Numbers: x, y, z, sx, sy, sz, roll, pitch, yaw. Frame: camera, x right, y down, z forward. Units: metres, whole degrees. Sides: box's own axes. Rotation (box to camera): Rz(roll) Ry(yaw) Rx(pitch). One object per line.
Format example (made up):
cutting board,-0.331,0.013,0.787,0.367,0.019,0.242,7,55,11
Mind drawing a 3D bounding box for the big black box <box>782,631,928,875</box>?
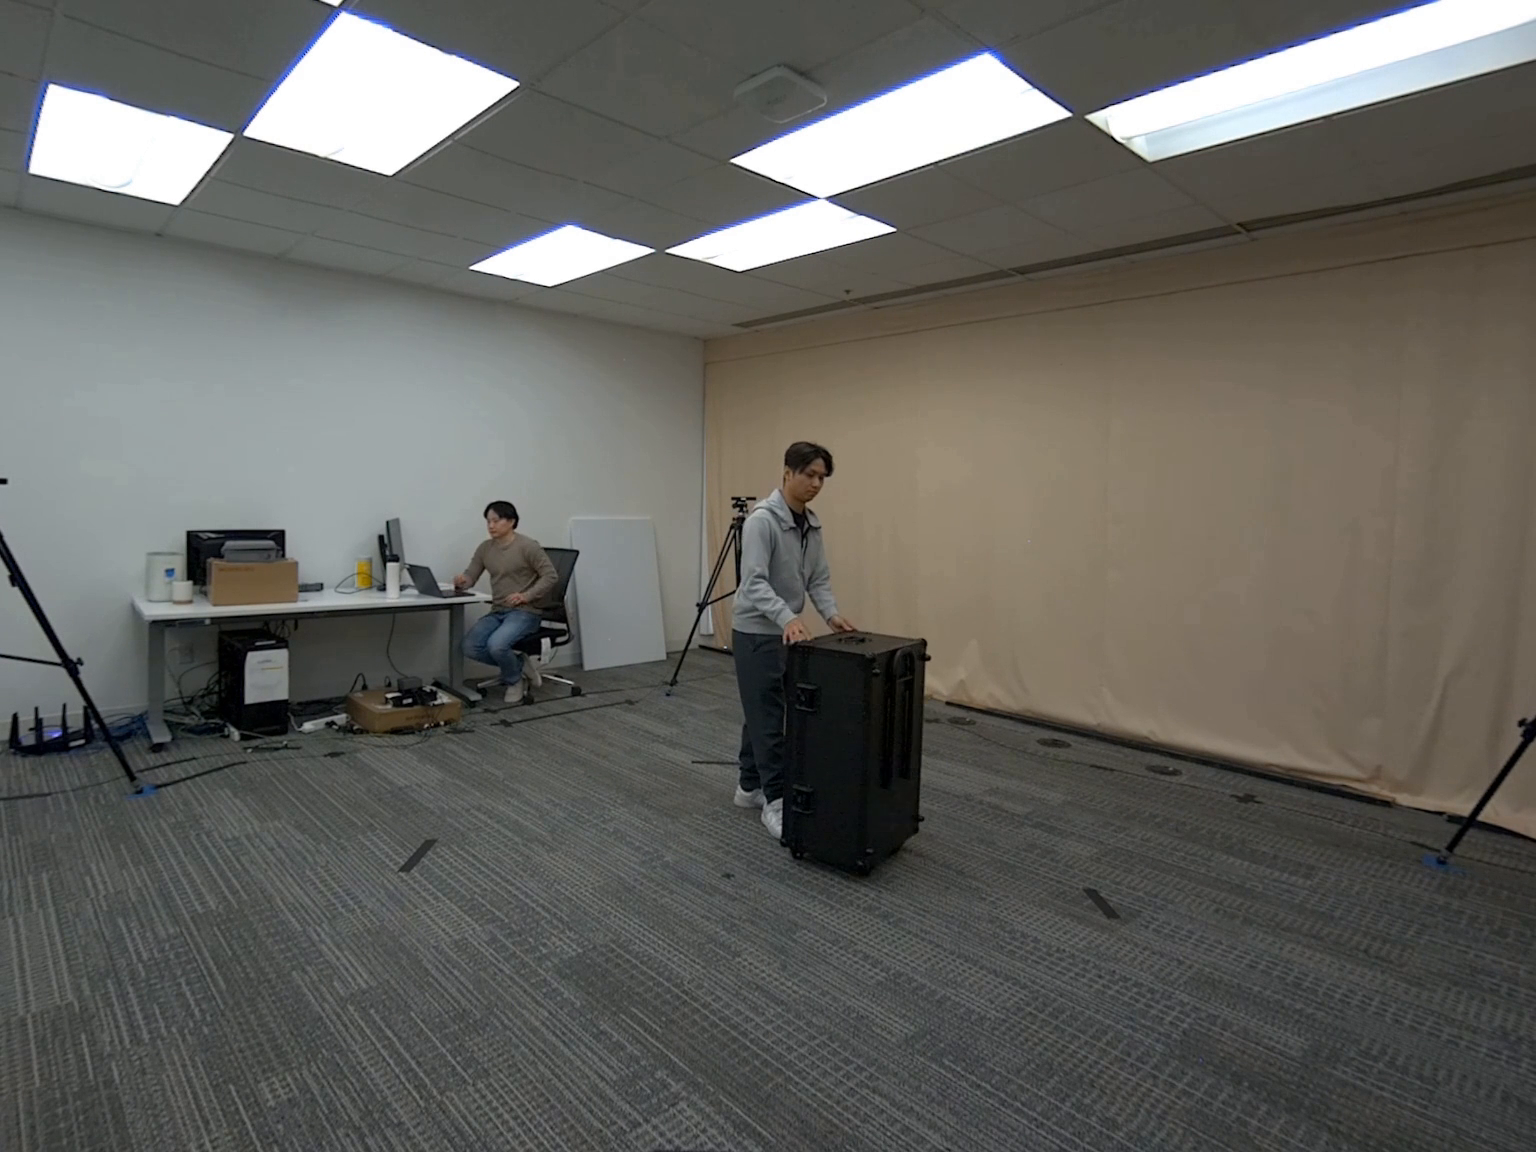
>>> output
big black box,0.348,0.679,3.276,0.406,0.859,0.510,5,4,35
